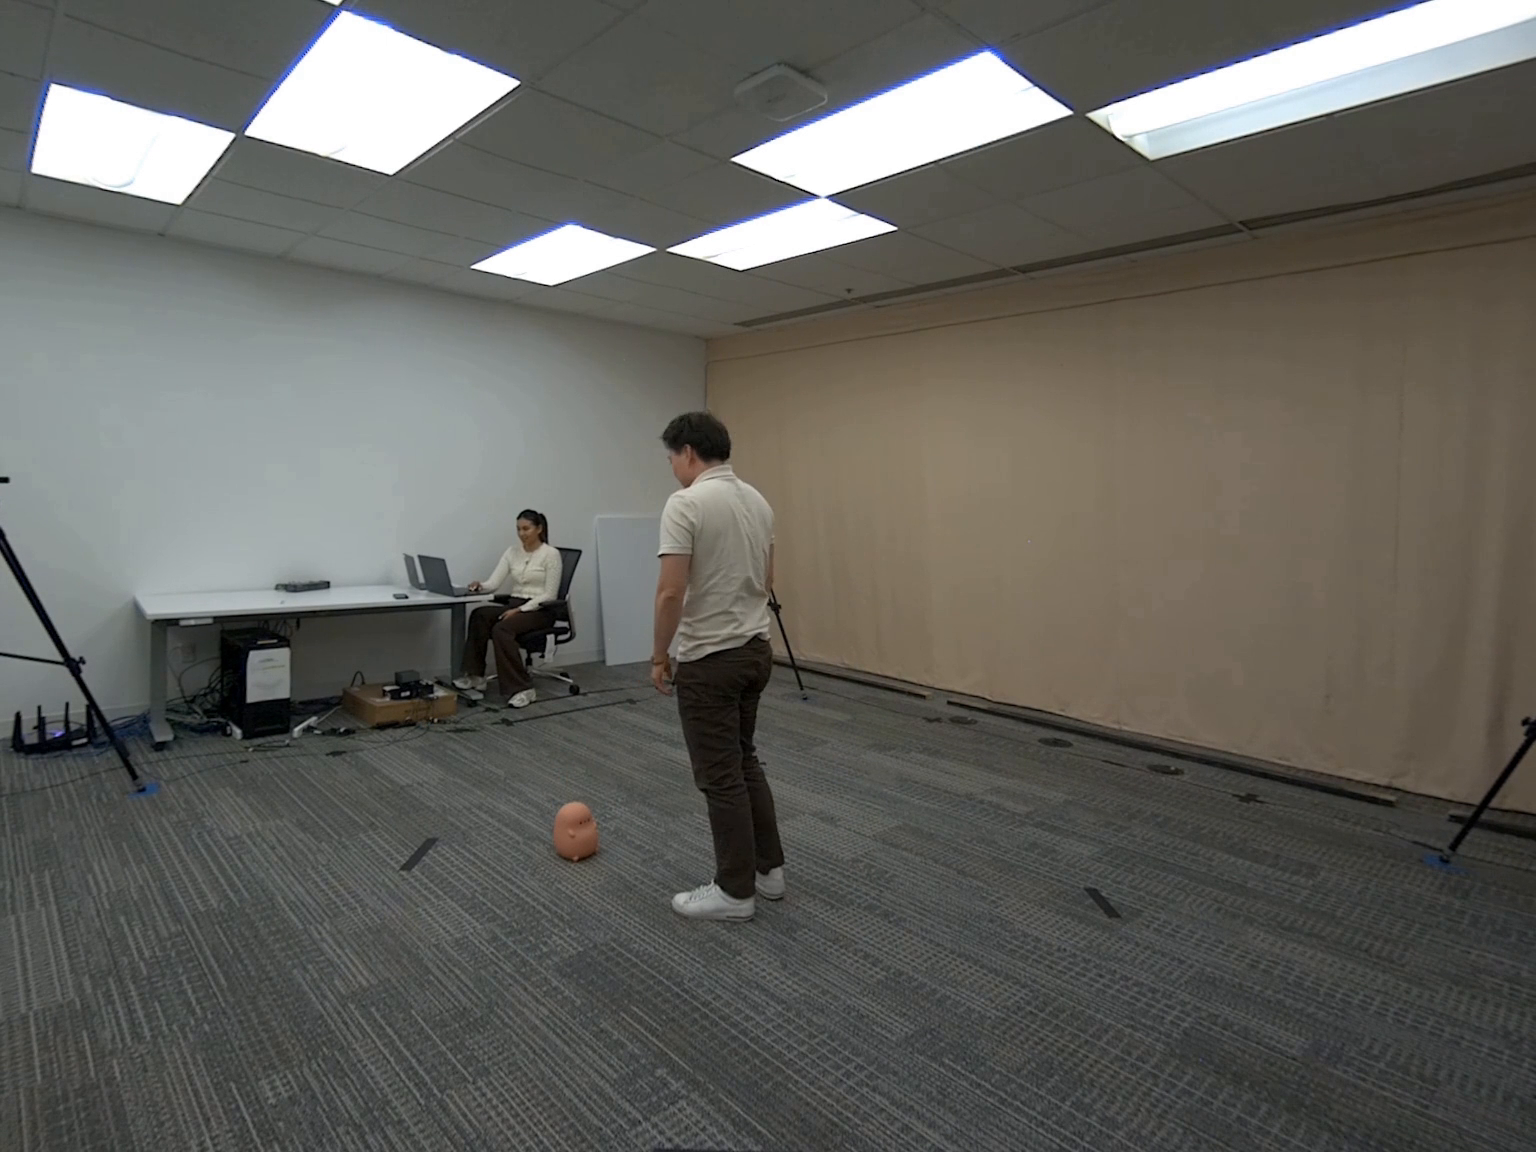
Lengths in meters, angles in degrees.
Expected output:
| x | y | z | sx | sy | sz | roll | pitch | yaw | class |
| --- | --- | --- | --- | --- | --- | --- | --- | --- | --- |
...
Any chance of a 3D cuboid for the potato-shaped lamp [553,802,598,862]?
| x | y | z | sx | sy | sz | roll | pitch | yaw | class |
| --- | --- | --- | --- | --- | --- | --- | --- | --- | --- |
| -0.753 | 0.977 | 3.247 | 0.176 | 0.198 | 0.161 | 4 | 4 | 41 | potato-shaped lamp |
